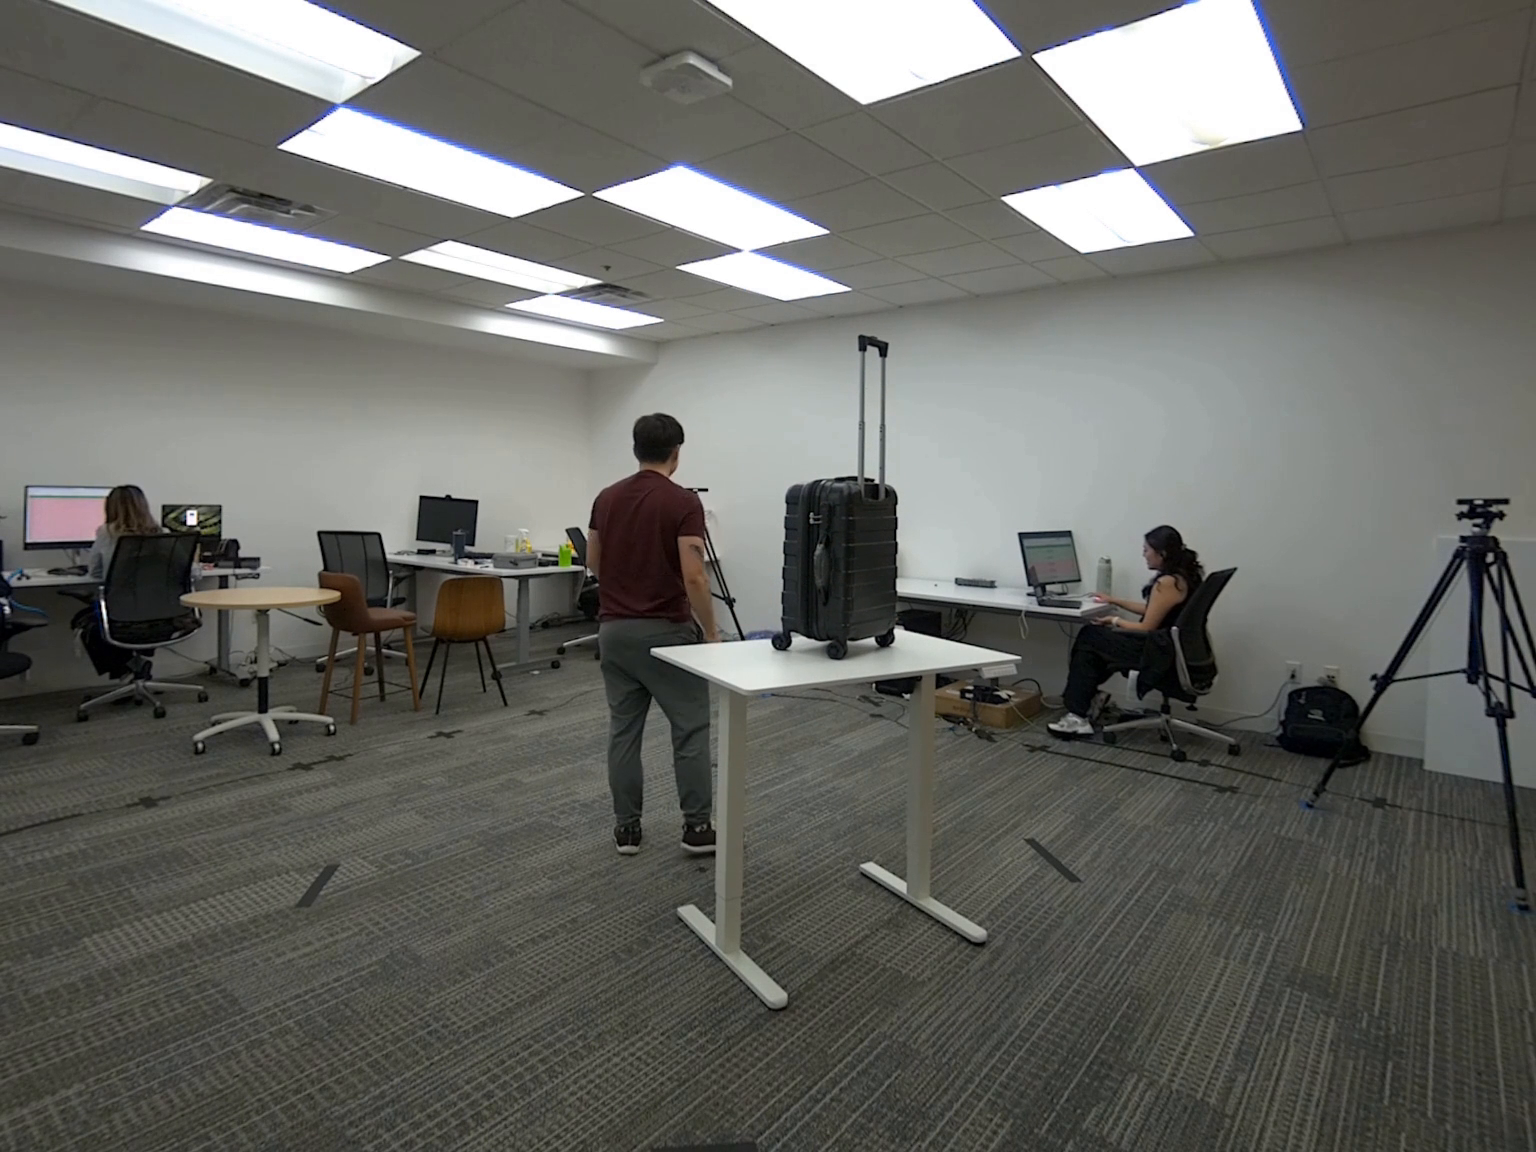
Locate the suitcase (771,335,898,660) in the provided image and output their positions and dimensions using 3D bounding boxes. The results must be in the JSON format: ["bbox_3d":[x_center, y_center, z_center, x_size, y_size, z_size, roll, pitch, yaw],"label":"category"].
[{"bbox_3d":[0.225,-0.249,2.721,0.265,0.977,0.372,2,3,38],"label":"suitcase"}]
